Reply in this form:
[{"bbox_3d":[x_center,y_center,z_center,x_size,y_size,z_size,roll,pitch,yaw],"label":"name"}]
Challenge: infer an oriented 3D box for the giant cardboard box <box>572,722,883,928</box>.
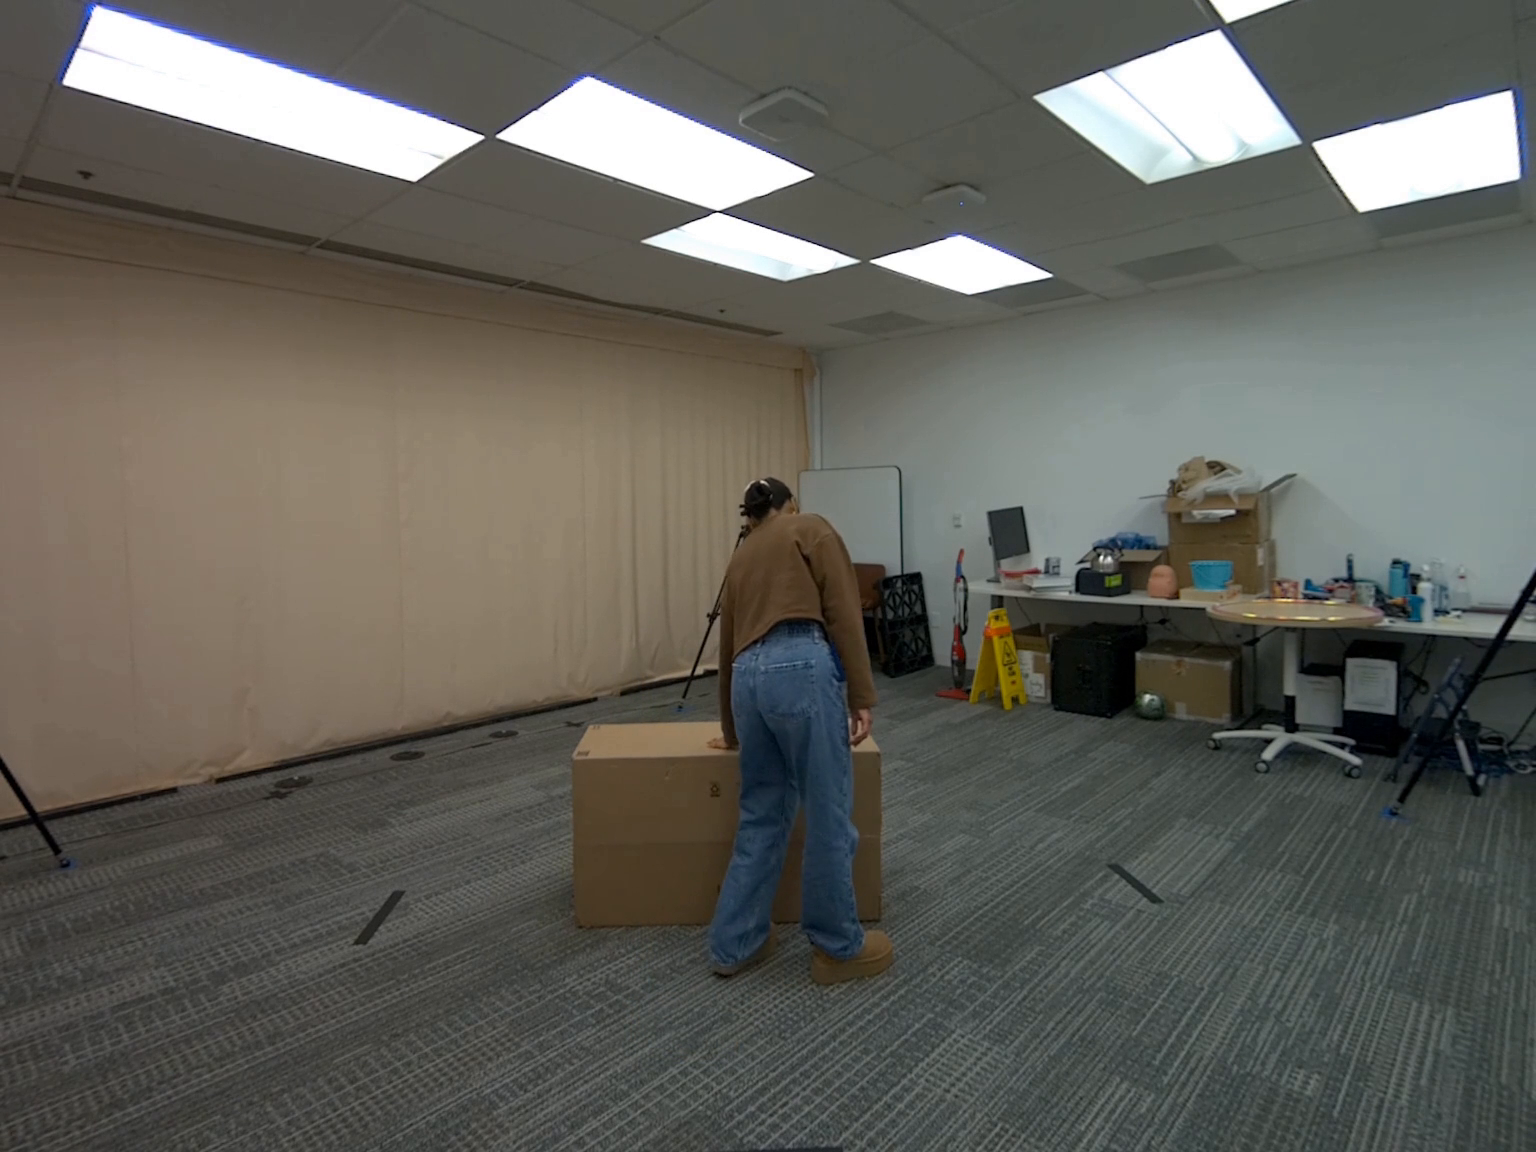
[{"bbox_3d":[-0.150,0.854,2.996,1.028,0.582,0.448,-1,5,0],"label":"giant cardboard box"}]
